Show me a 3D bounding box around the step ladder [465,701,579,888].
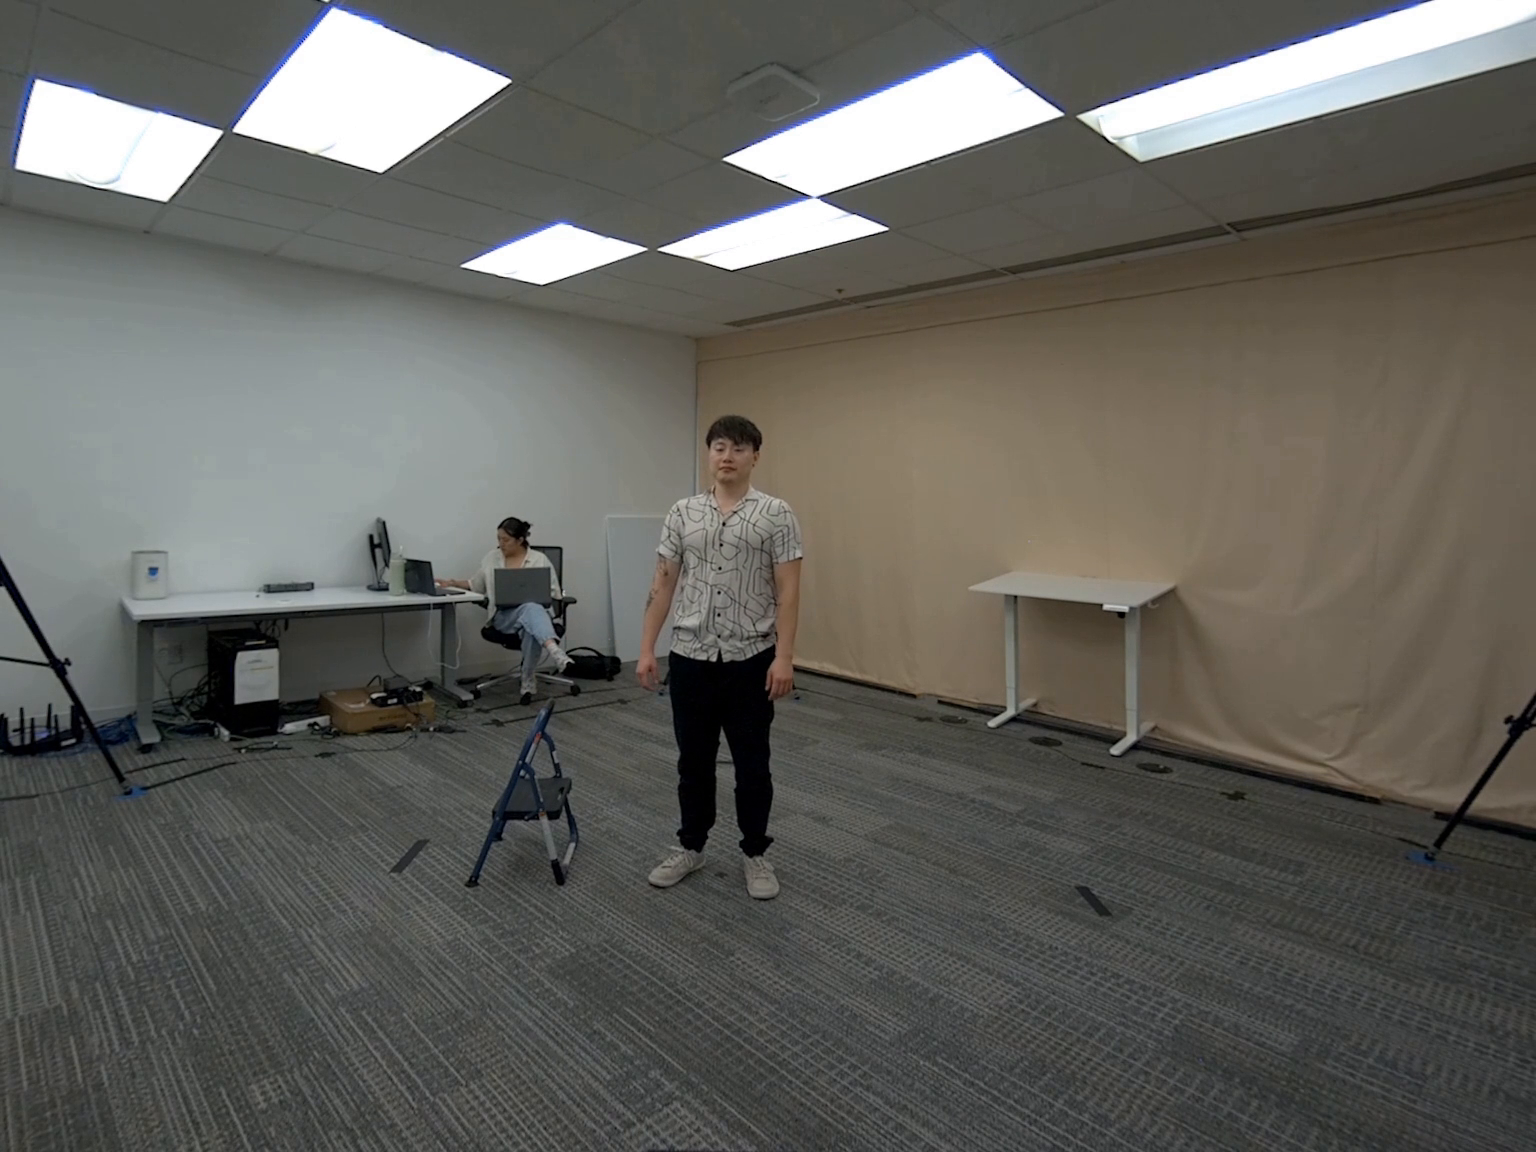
[{"bbox_3d":[-0.913,0.781,3.167,0.348,0.604,0.433,1,4,-5],"label":"step ladder"}]
